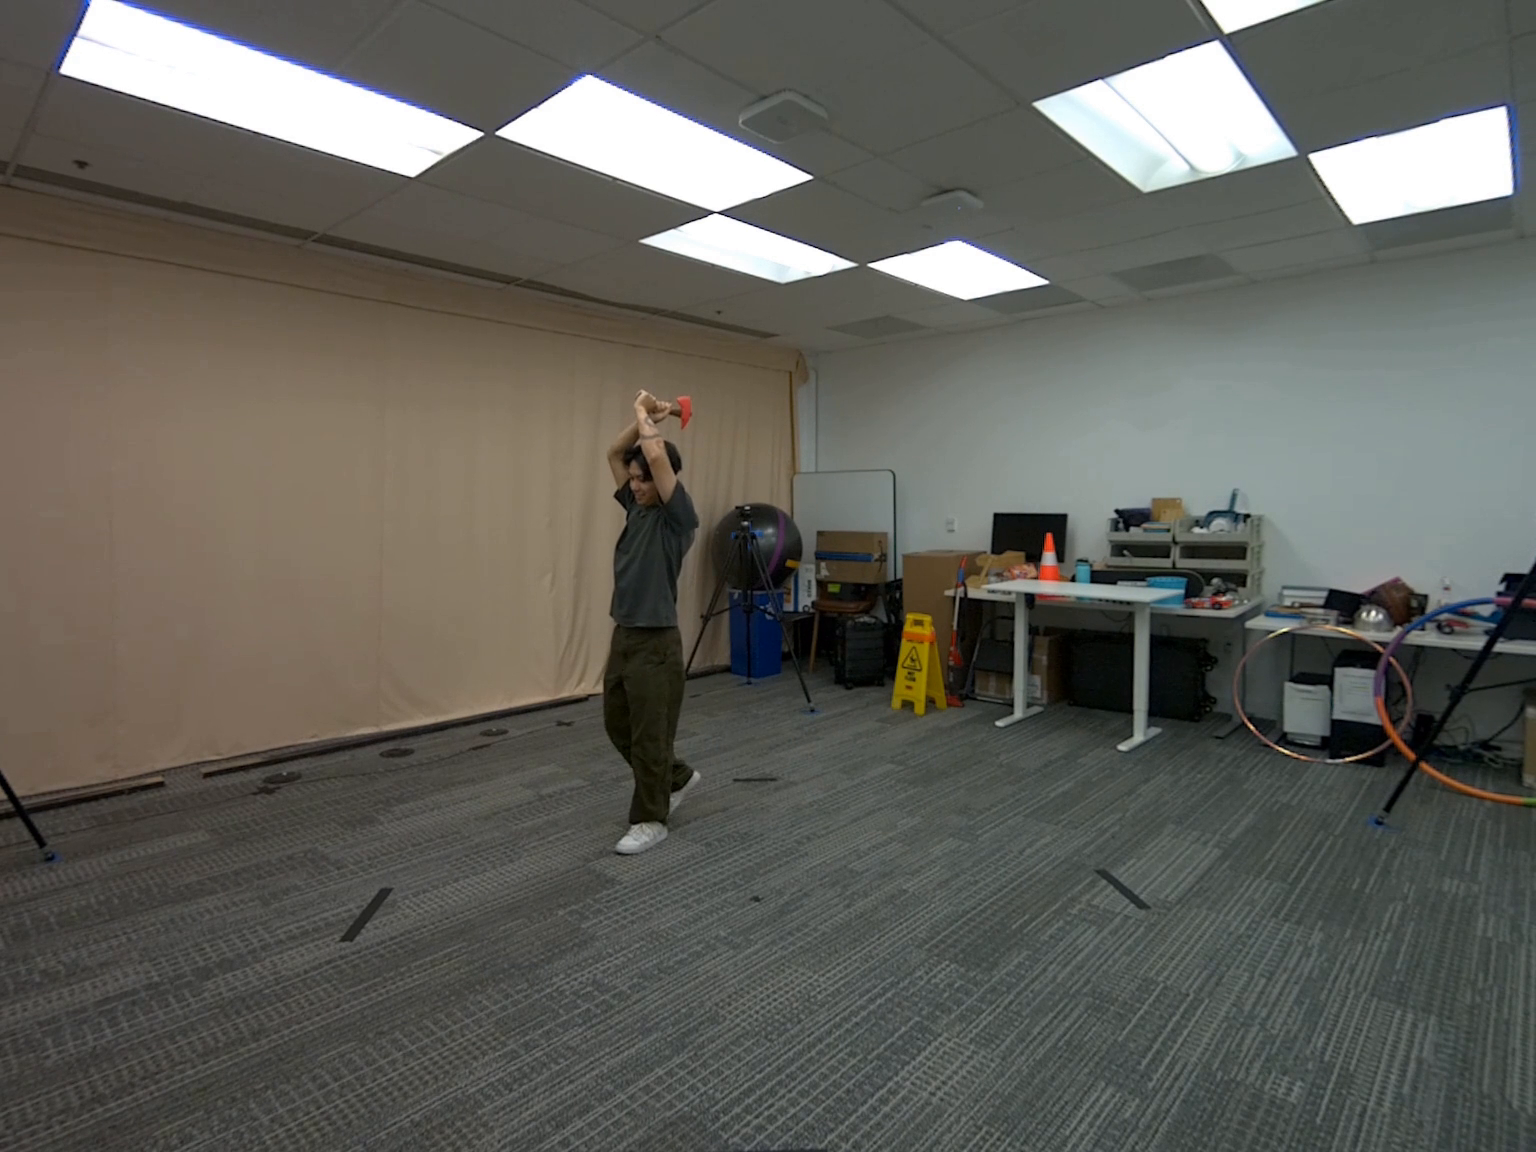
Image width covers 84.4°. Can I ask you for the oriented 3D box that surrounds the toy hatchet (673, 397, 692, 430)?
[{"bbox_3d":[-0.421,-0.708,3.452,0.262,0.131,0.030,26,5,-28],"label":"toy hatchet"}]
